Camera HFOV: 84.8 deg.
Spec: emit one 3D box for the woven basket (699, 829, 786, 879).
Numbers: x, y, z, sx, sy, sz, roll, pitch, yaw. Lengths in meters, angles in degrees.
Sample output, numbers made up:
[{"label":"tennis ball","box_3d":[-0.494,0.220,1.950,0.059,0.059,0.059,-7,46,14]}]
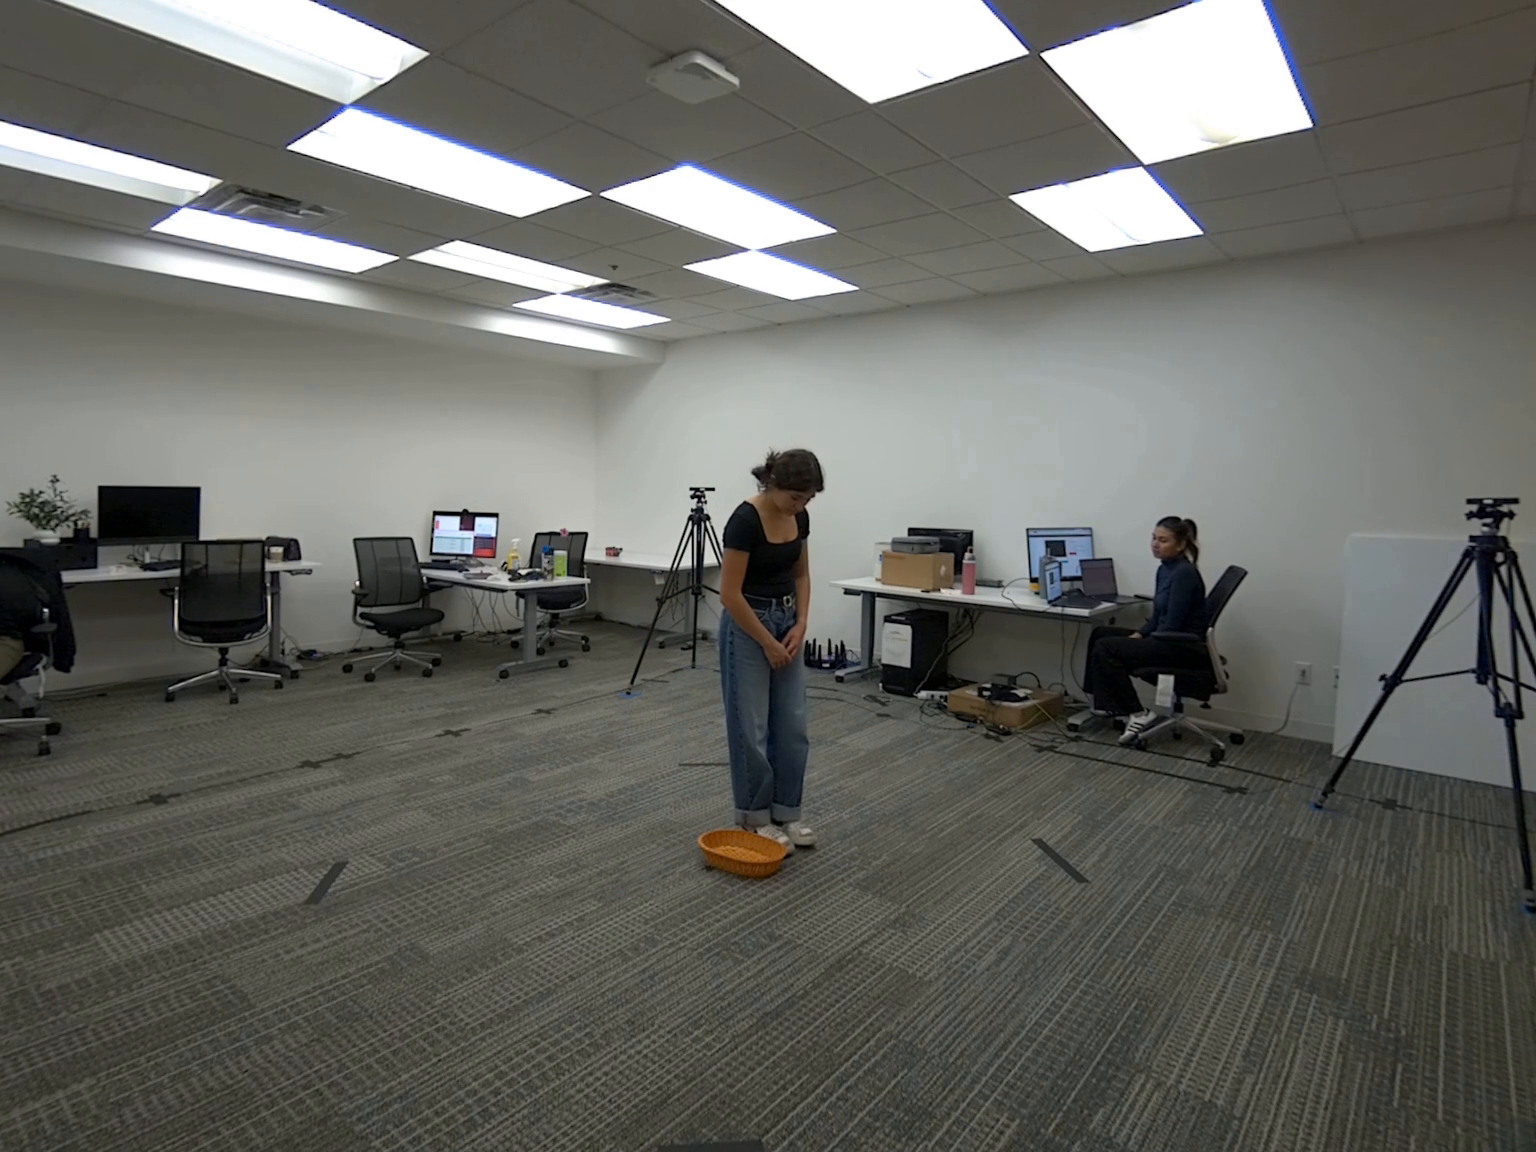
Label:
[{"label":"woven basket","box_3d":[-0.109,1.021,3.157,0.362,0.073,0.245,4,4,36]}]
